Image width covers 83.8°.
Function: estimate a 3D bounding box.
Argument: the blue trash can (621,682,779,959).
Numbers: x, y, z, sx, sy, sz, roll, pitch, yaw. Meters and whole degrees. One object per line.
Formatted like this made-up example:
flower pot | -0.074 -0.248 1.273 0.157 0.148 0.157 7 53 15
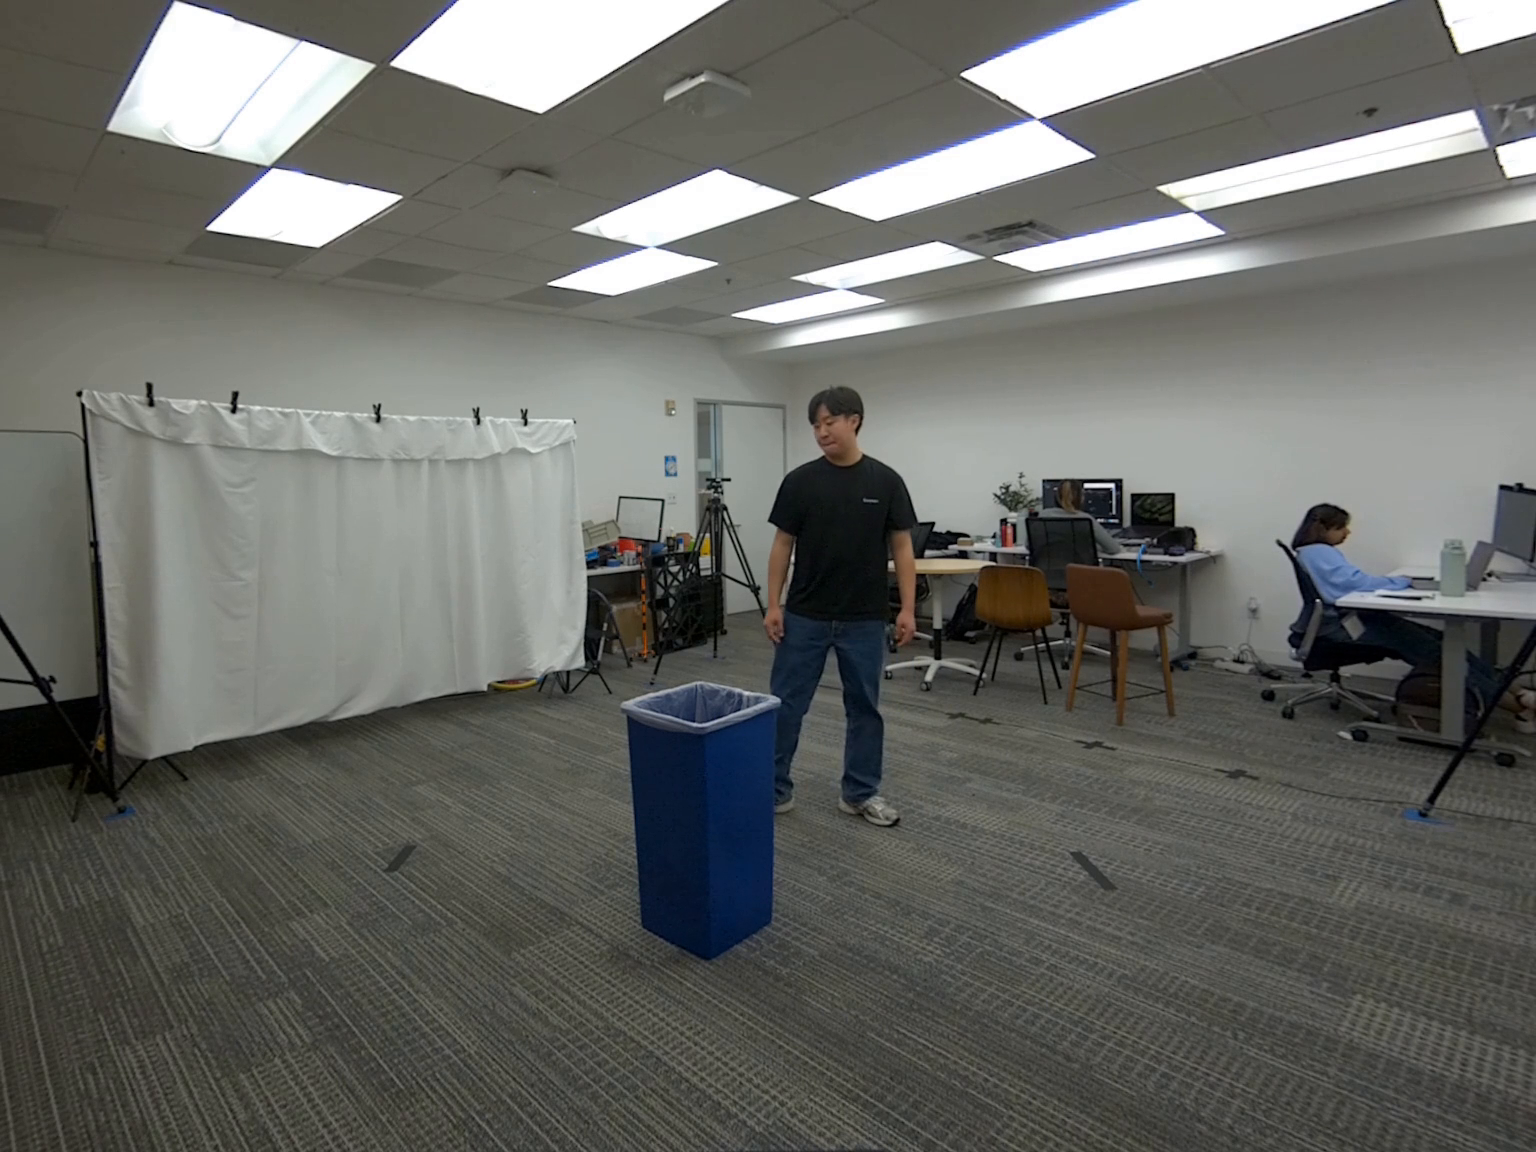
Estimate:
blue trash can | -0.196 0.738 2.656 0.389 0.711 0.364 2 5 41
